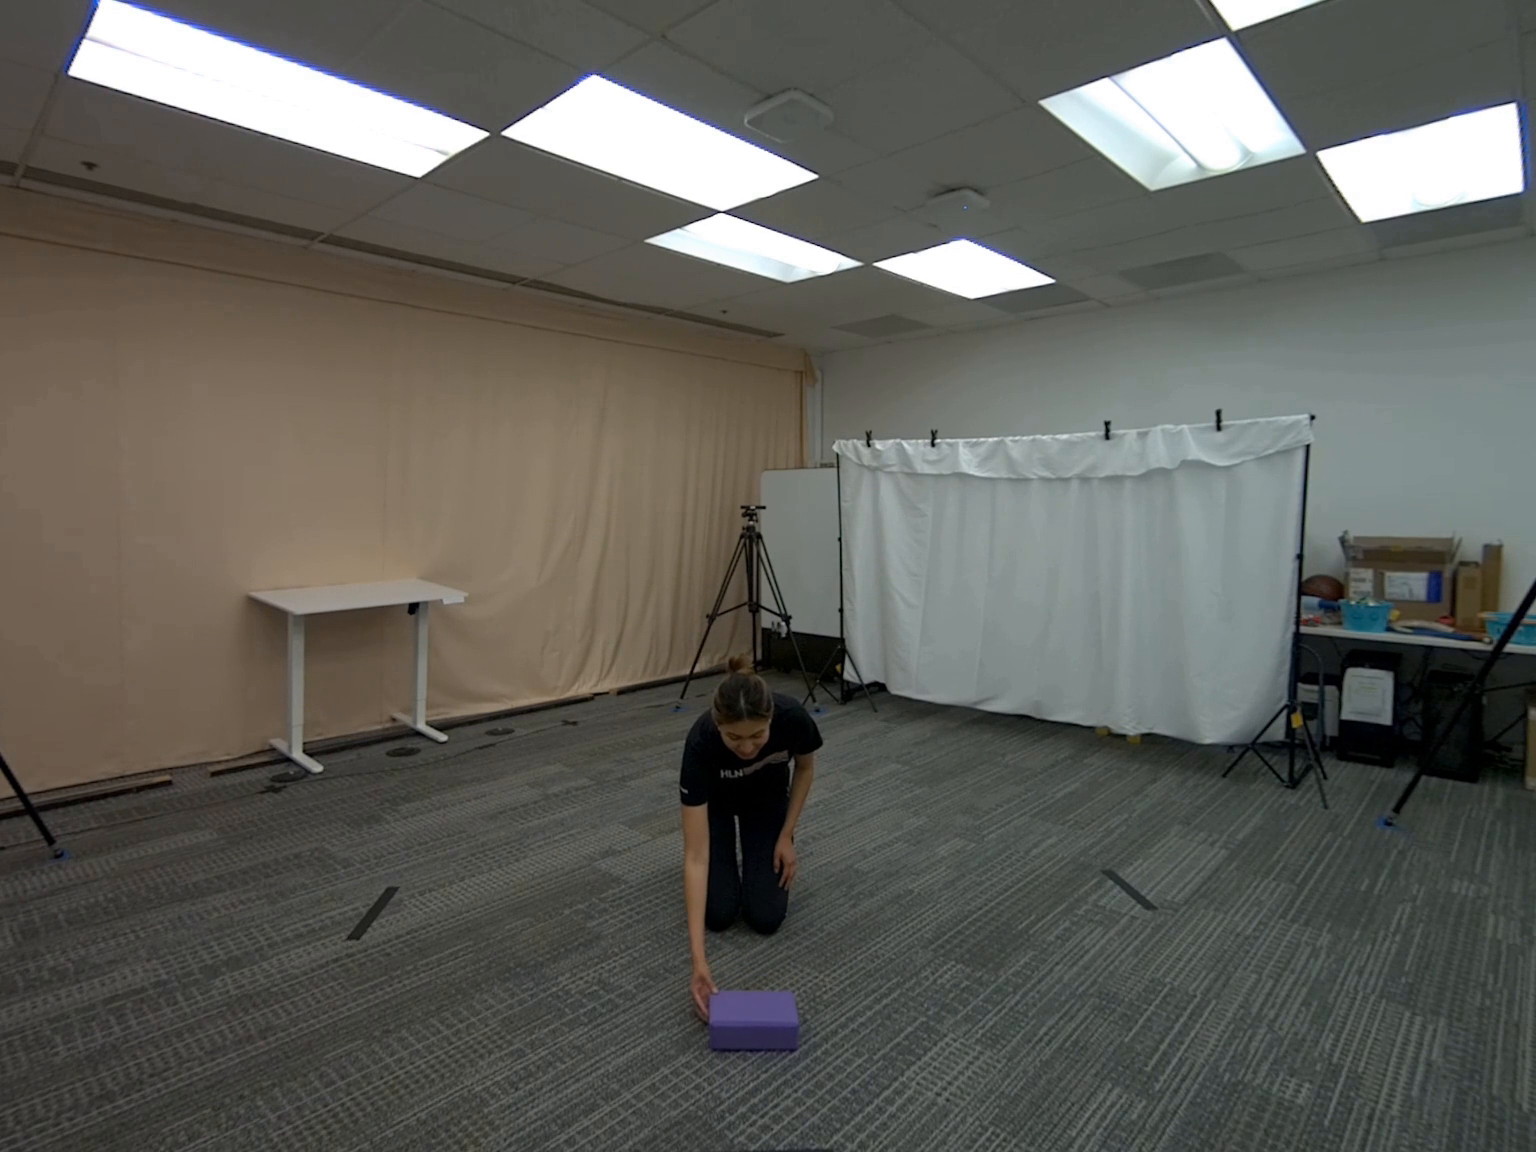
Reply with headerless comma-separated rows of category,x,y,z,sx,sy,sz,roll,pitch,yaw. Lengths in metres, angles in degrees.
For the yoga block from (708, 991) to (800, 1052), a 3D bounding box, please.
yoga block,-0.037,1.161,2.217,0.229,0.076,0.149,-1,6,-1
